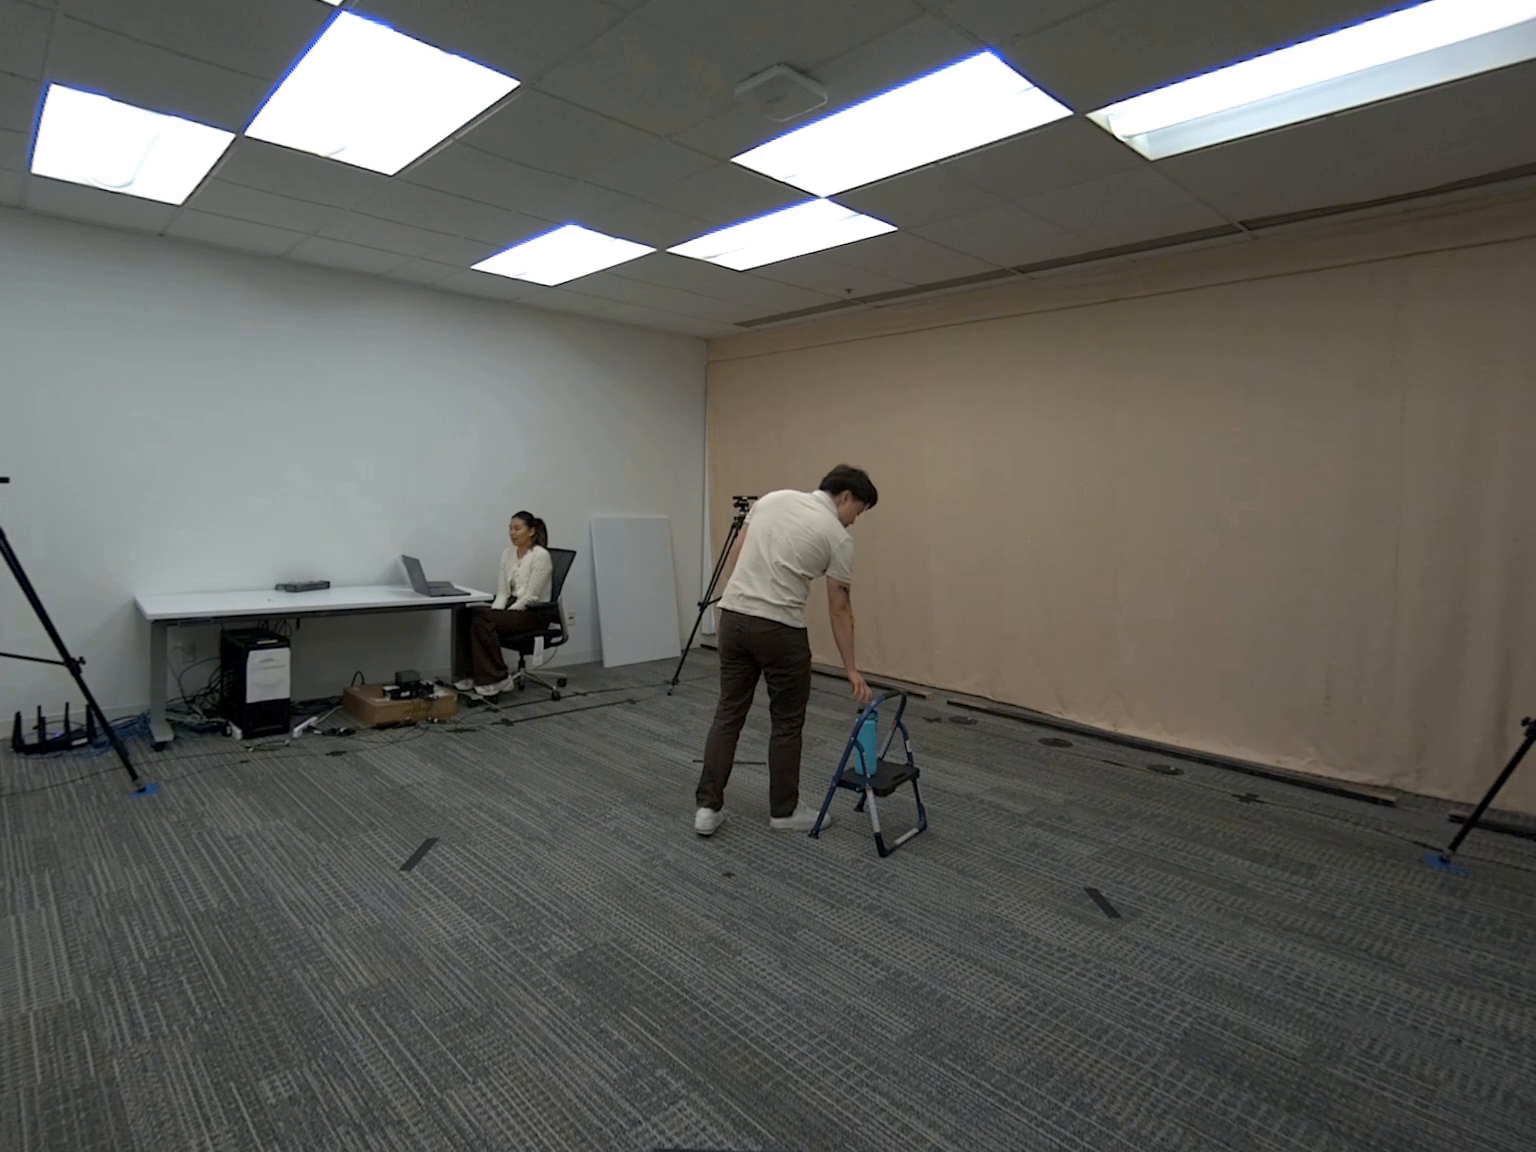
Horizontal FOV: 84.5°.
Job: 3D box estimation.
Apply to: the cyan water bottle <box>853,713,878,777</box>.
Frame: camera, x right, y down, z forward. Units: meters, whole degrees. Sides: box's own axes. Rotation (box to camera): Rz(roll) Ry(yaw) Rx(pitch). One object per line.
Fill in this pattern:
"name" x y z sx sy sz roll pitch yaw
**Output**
"cyan water bottle" 0.399 0.675 3.500 0.092 0.283 0.092 3 2 -2
